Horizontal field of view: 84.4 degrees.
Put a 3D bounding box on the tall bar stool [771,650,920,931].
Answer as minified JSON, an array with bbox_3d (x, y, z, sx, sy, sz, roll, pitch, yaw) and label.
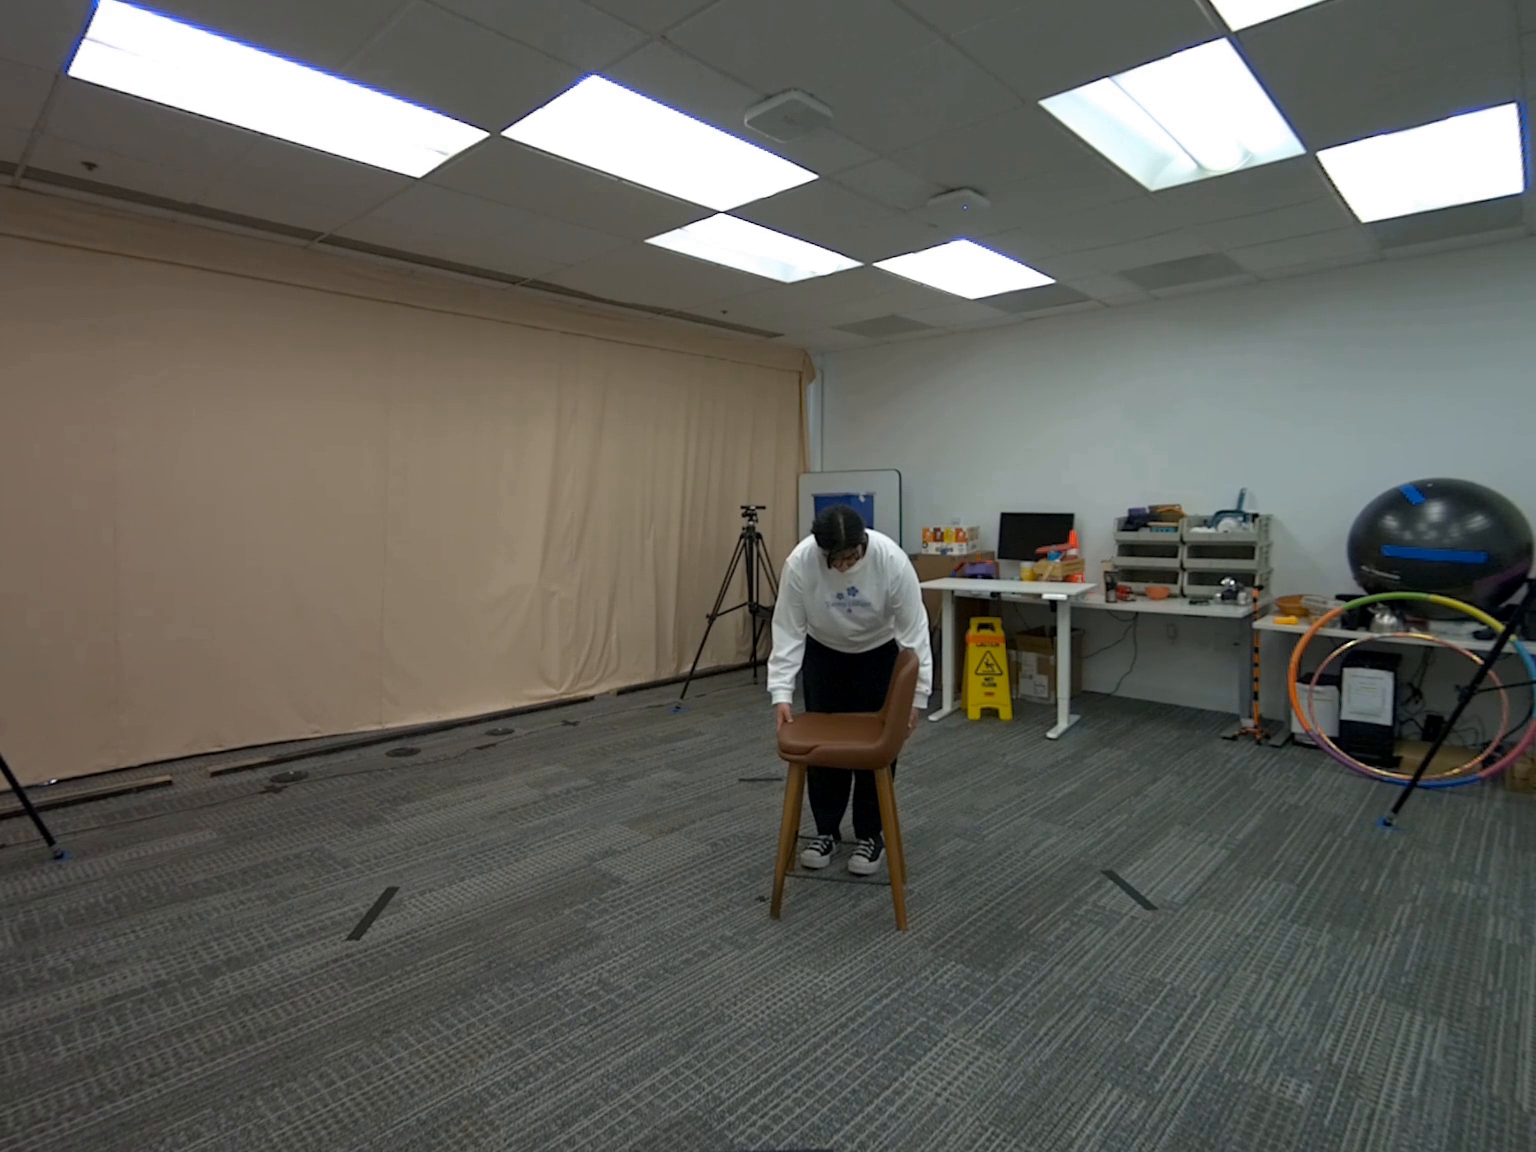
[{"bbox_3d":[0.269,0.706,2.962,0.474,0.888,0.451,2,3,12],"label":"tall bar stool"}]
